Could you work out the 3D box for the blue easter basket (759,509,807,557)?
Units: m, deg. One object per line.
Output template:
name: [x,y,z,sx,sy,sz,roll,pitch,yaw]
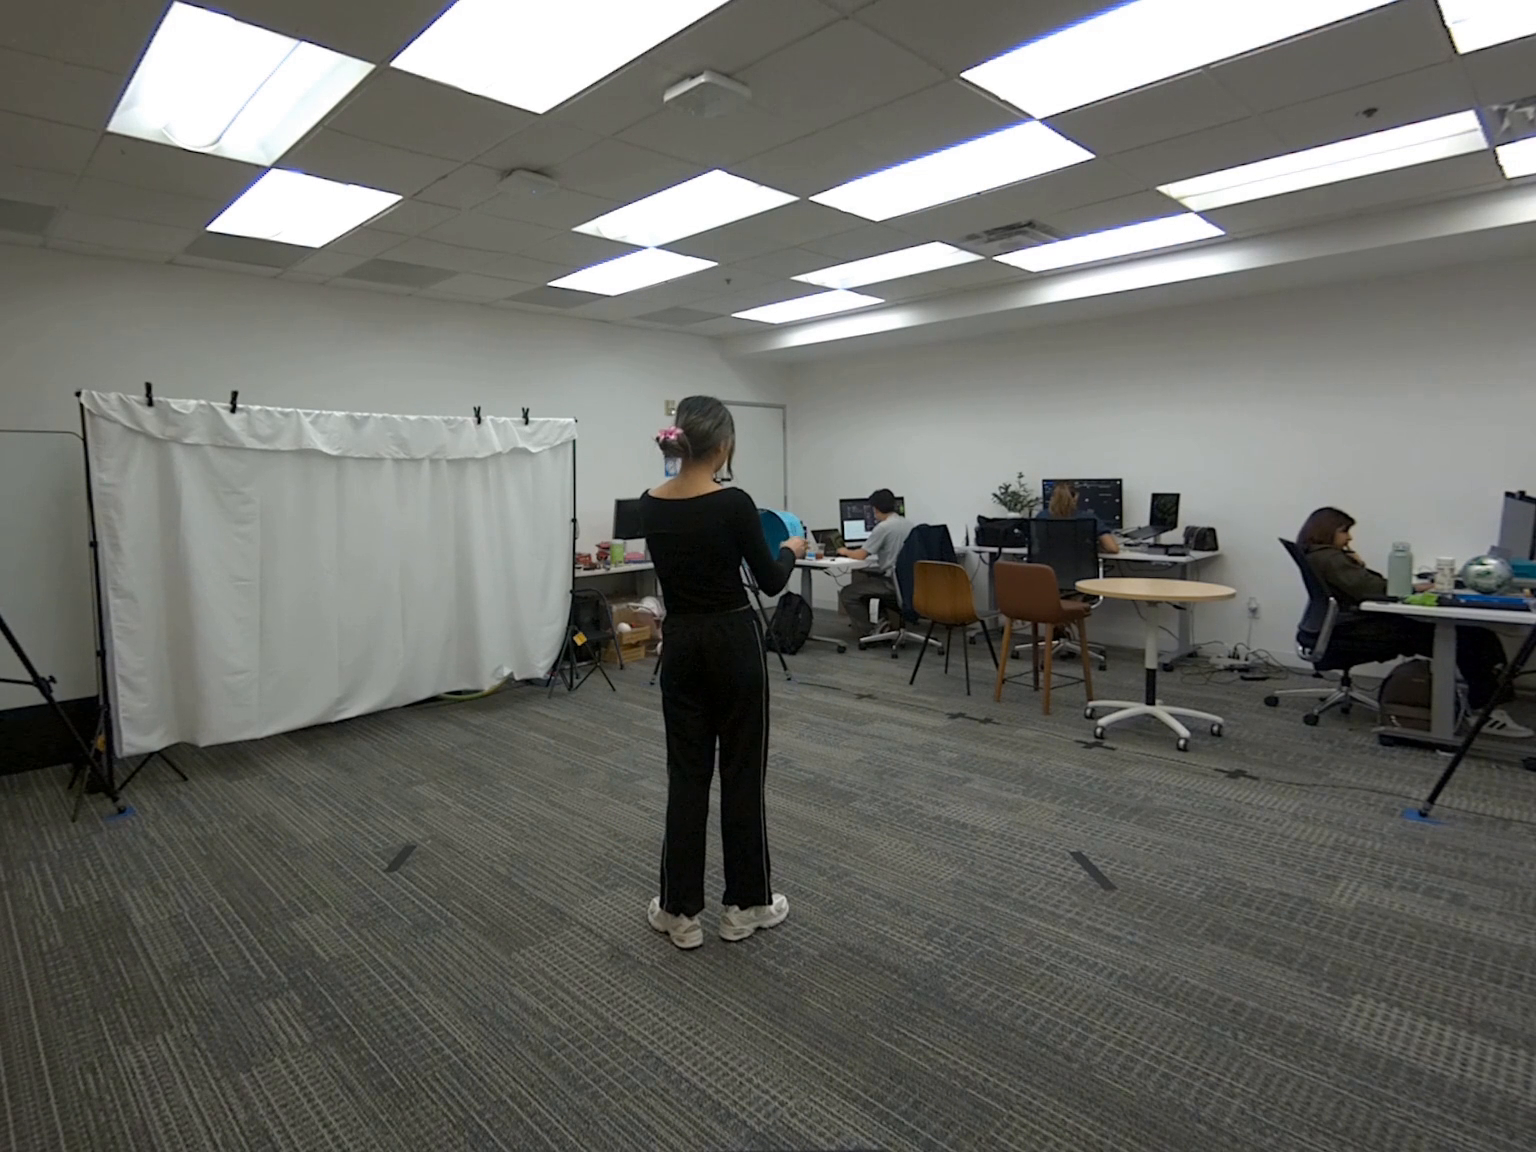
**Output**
blue easter basket: [0.024,-0.132,3.037,0.250,0.242,0.152,2,8,32]
